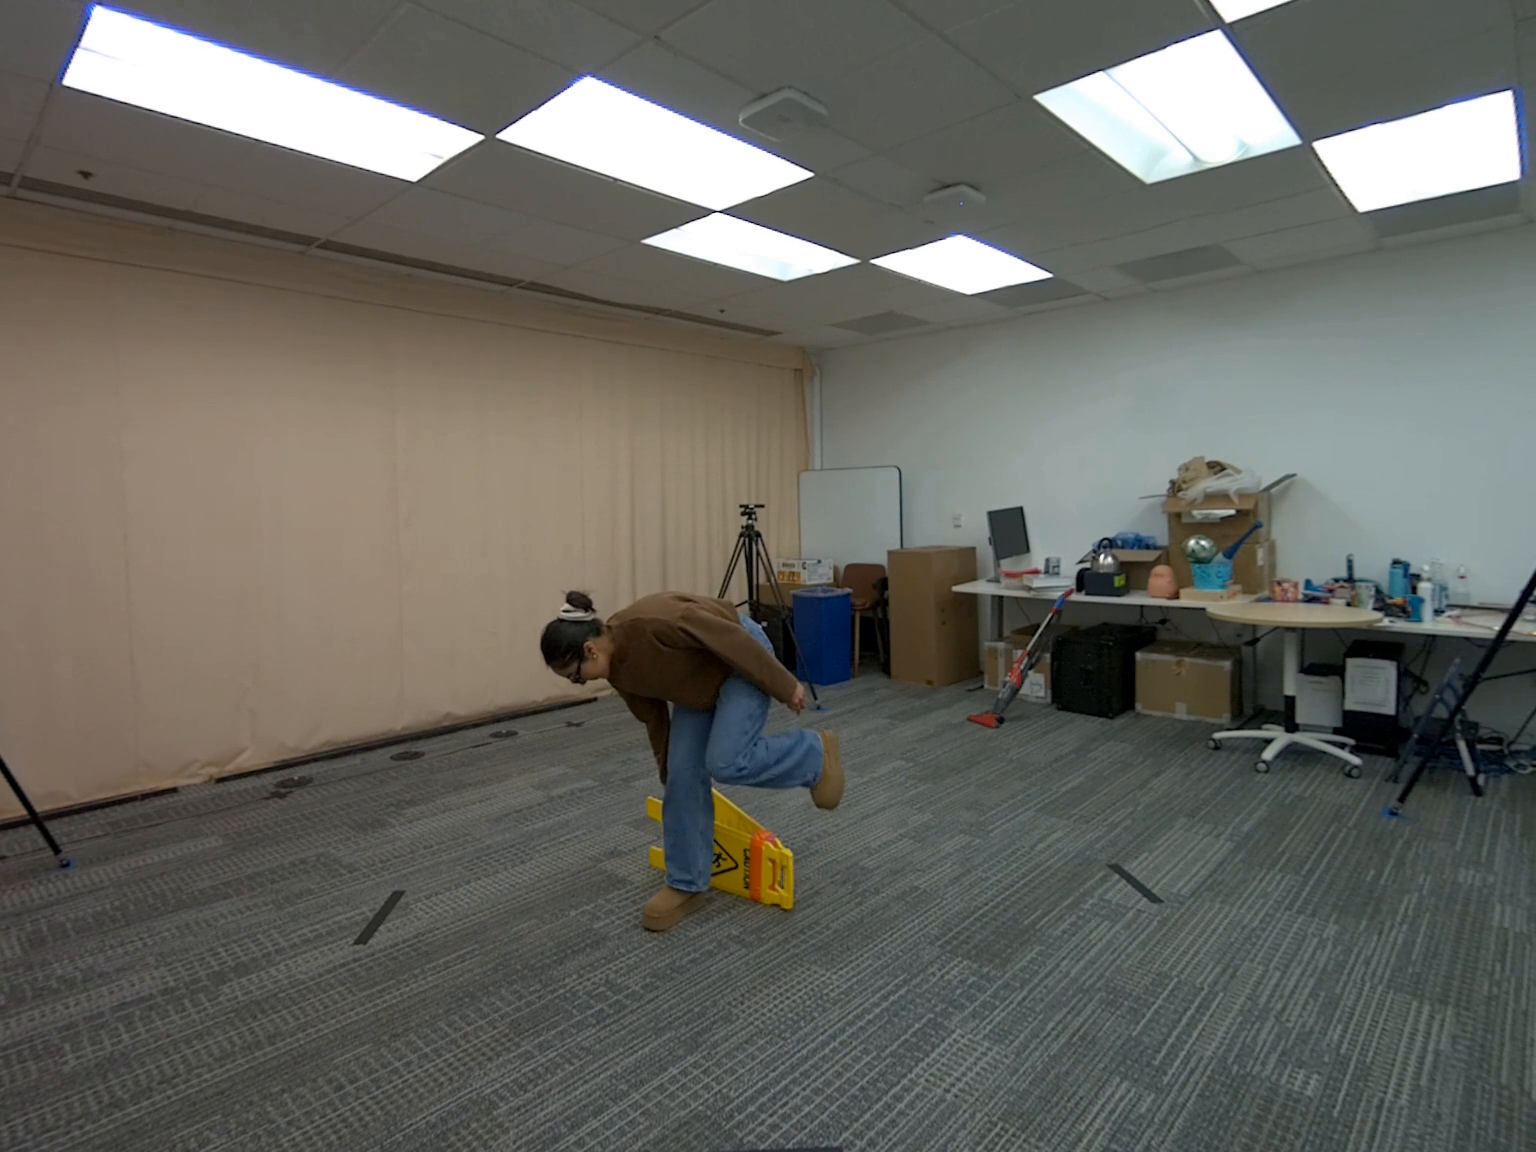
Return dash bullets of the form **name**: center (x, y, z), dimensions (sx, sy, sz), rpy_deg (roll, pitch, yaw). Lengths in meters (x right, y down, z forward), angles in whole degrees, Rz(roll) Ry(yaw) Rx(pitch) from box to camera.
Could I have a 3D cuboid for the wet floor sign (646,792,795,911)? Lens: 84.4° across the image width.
- **wet floor sign**: center (-0.140, 1.005, 3.105), dimensions (0.281, 0.281, 0.668), rpy_deg (-5, 9, -42)
